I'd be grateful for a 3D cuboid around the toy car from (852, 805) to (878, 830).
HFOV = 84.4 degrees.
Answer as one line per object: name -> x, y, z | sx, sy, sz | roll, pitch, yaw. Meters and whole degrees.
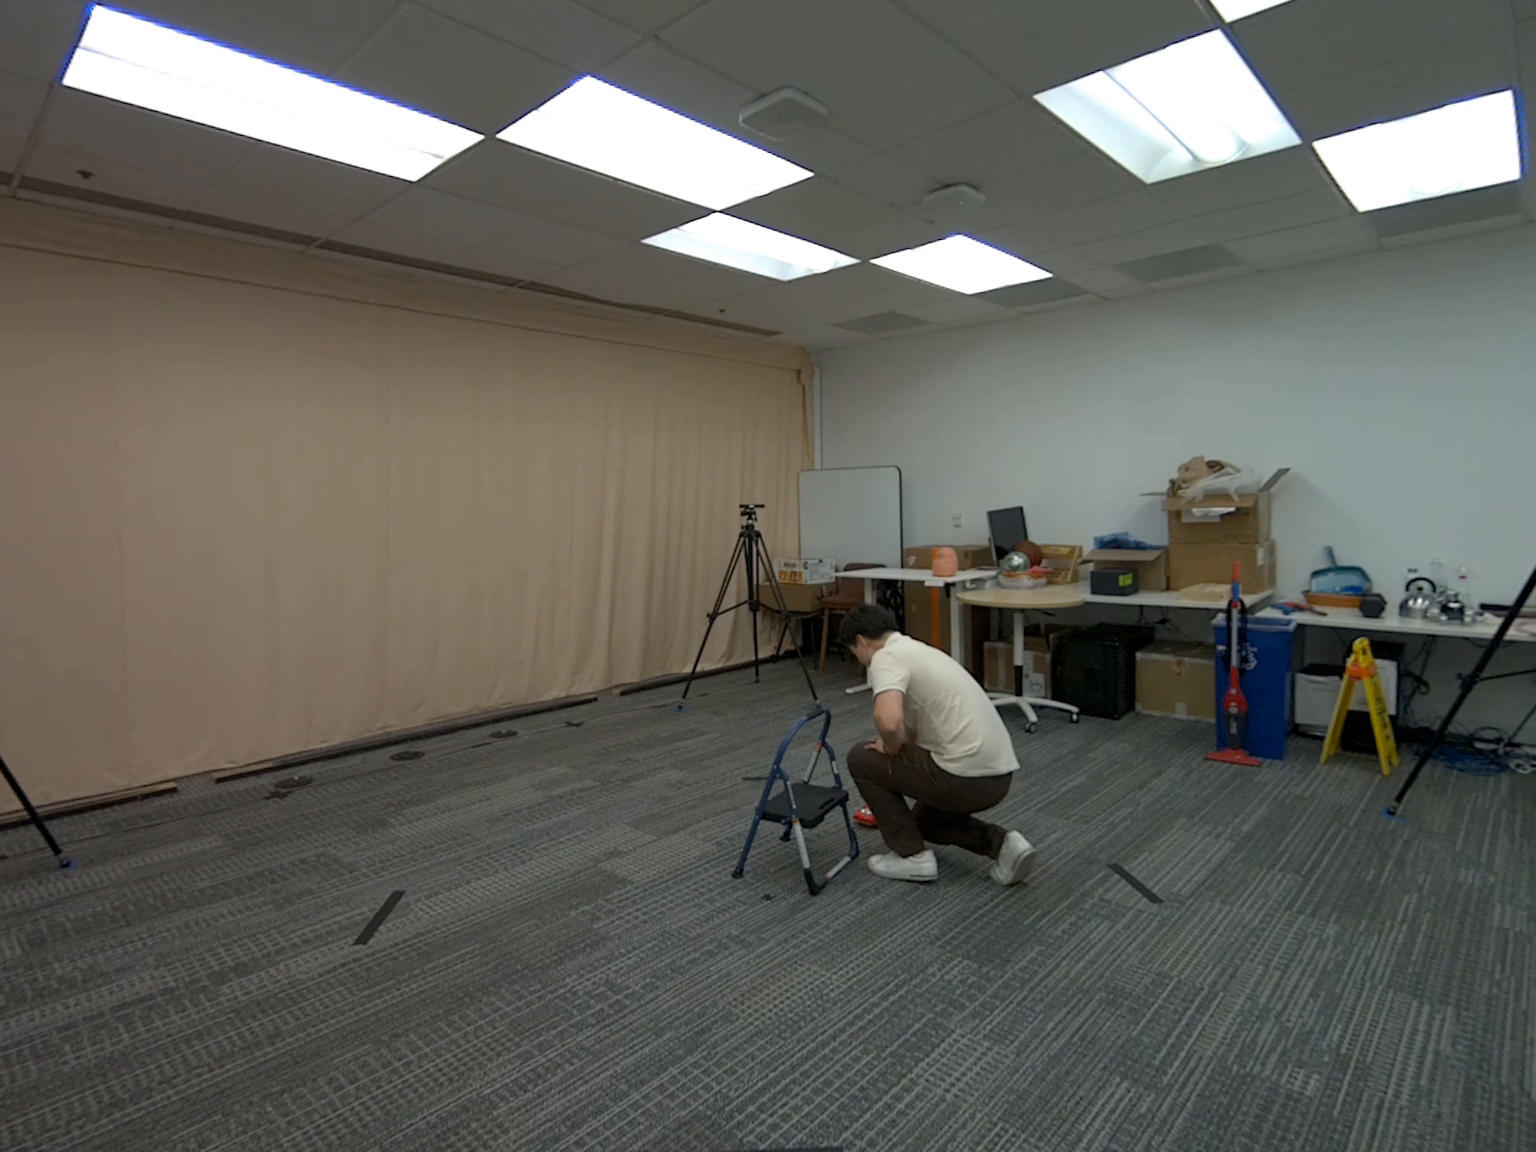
toy car -> 0.476, 1.040, 3.680 | 0.135, 0.083, 0.246 | 4, -3, 44
